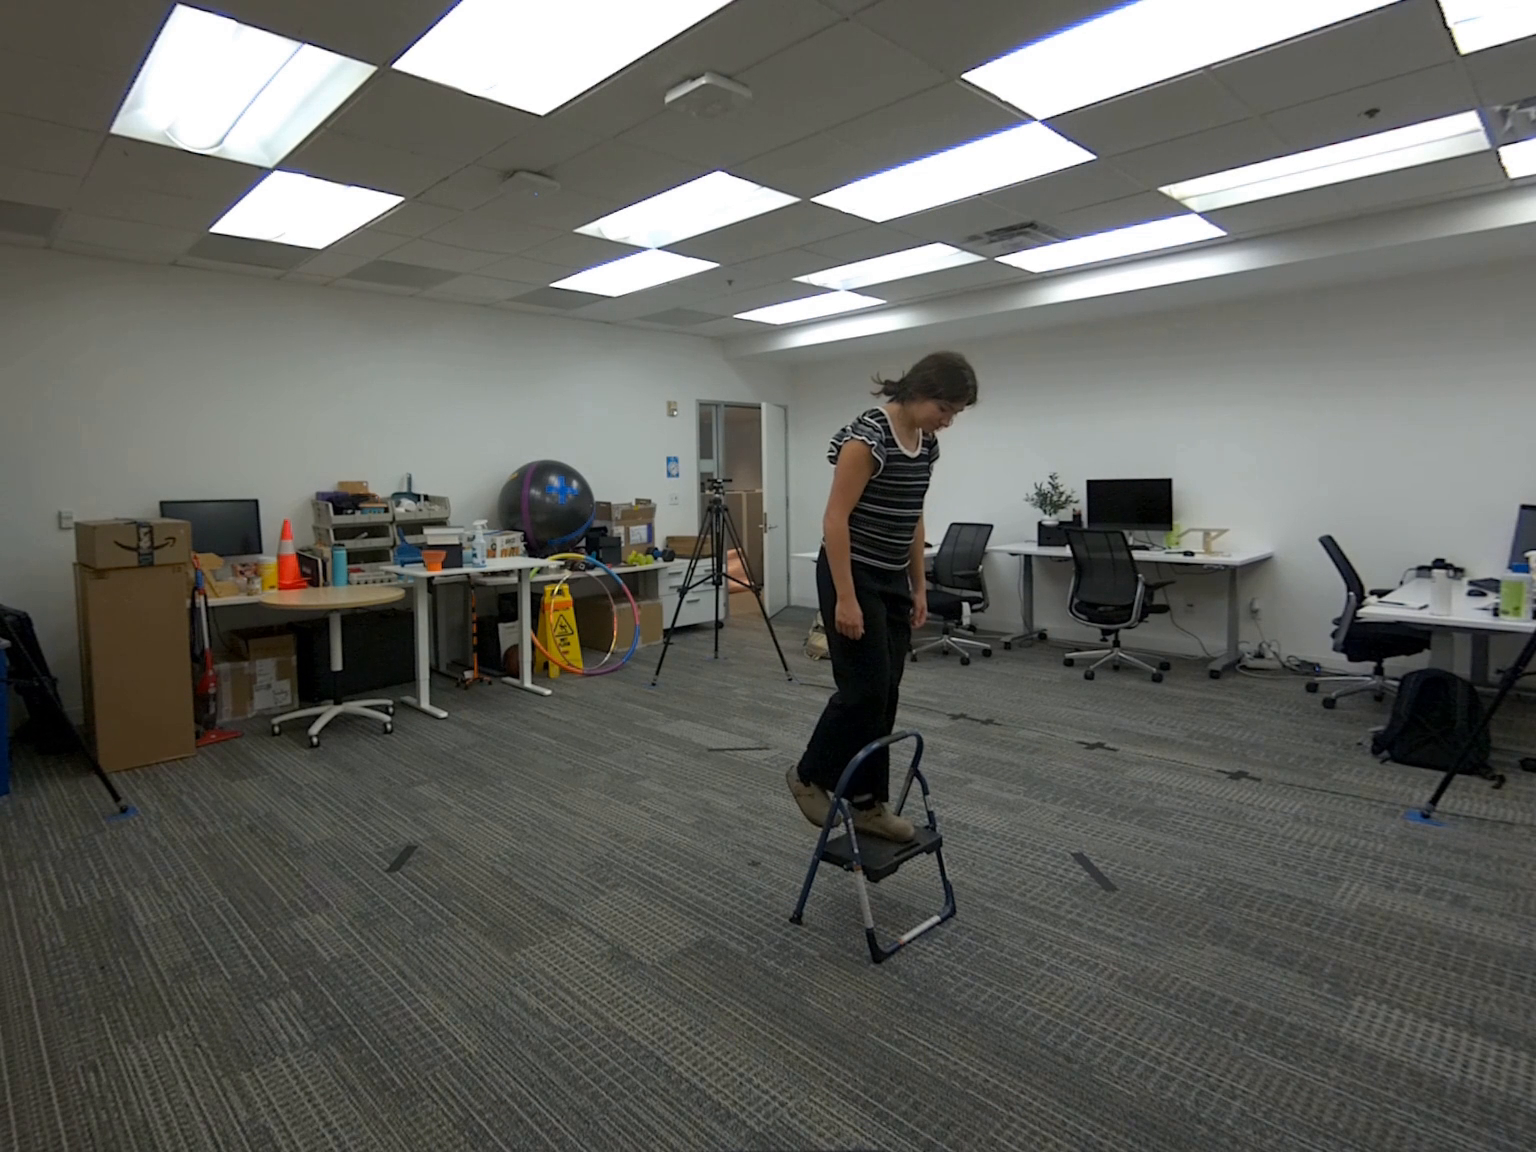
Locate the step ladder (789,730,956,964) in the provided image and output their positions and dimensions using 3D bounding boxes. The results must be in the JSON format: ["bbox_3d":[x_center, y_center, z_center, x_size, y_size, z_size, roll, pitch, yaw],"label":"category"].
[{"bbox_3d":[0.335,0.785,2.690,0.360,0.604,0.419,4,6,45],"label":"step ladder"}]
